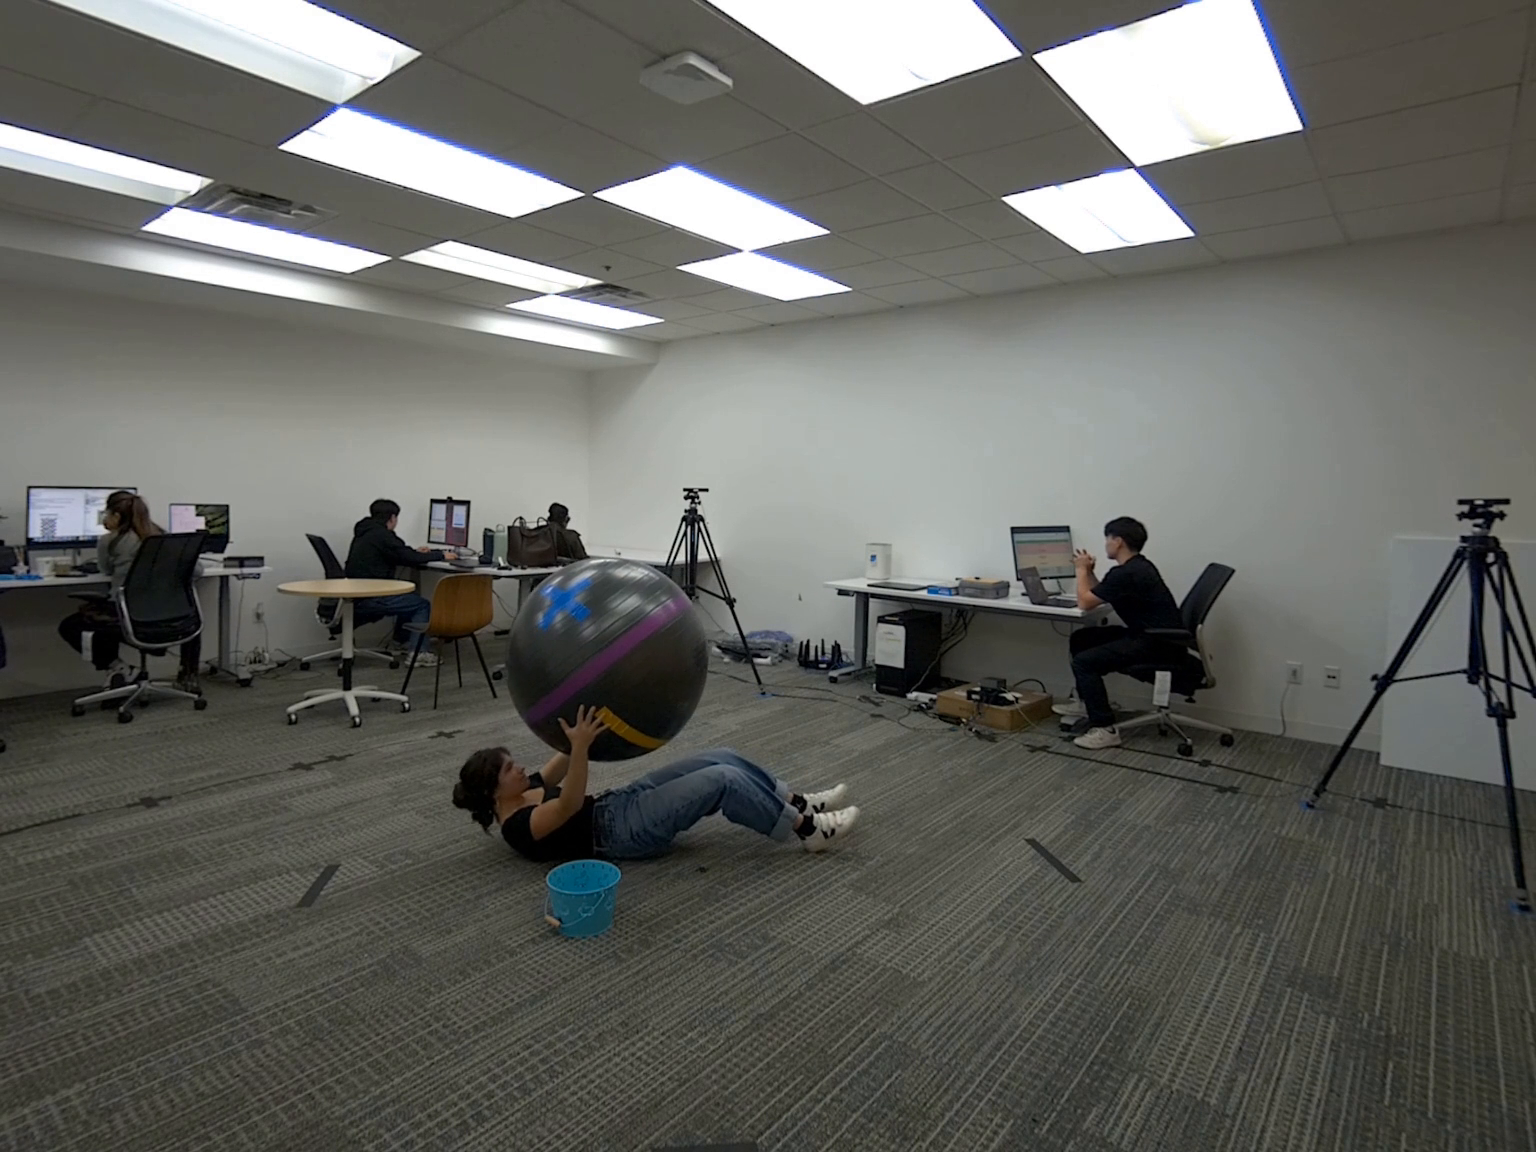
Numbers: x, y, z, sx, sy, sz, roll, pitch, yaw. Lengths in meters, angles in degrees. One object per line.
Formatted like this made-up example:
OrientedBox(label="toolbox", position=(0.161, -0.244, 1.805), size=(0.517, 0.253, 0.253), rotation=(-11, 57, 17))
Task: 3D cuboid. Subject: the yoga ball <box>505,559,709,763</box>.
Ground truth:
OrientedBox(label="yoga ball", position=(-0.621, 0.312, 3.198), size=(0.757, 0.756, 0.761), rotation=(1, 4, -2))
